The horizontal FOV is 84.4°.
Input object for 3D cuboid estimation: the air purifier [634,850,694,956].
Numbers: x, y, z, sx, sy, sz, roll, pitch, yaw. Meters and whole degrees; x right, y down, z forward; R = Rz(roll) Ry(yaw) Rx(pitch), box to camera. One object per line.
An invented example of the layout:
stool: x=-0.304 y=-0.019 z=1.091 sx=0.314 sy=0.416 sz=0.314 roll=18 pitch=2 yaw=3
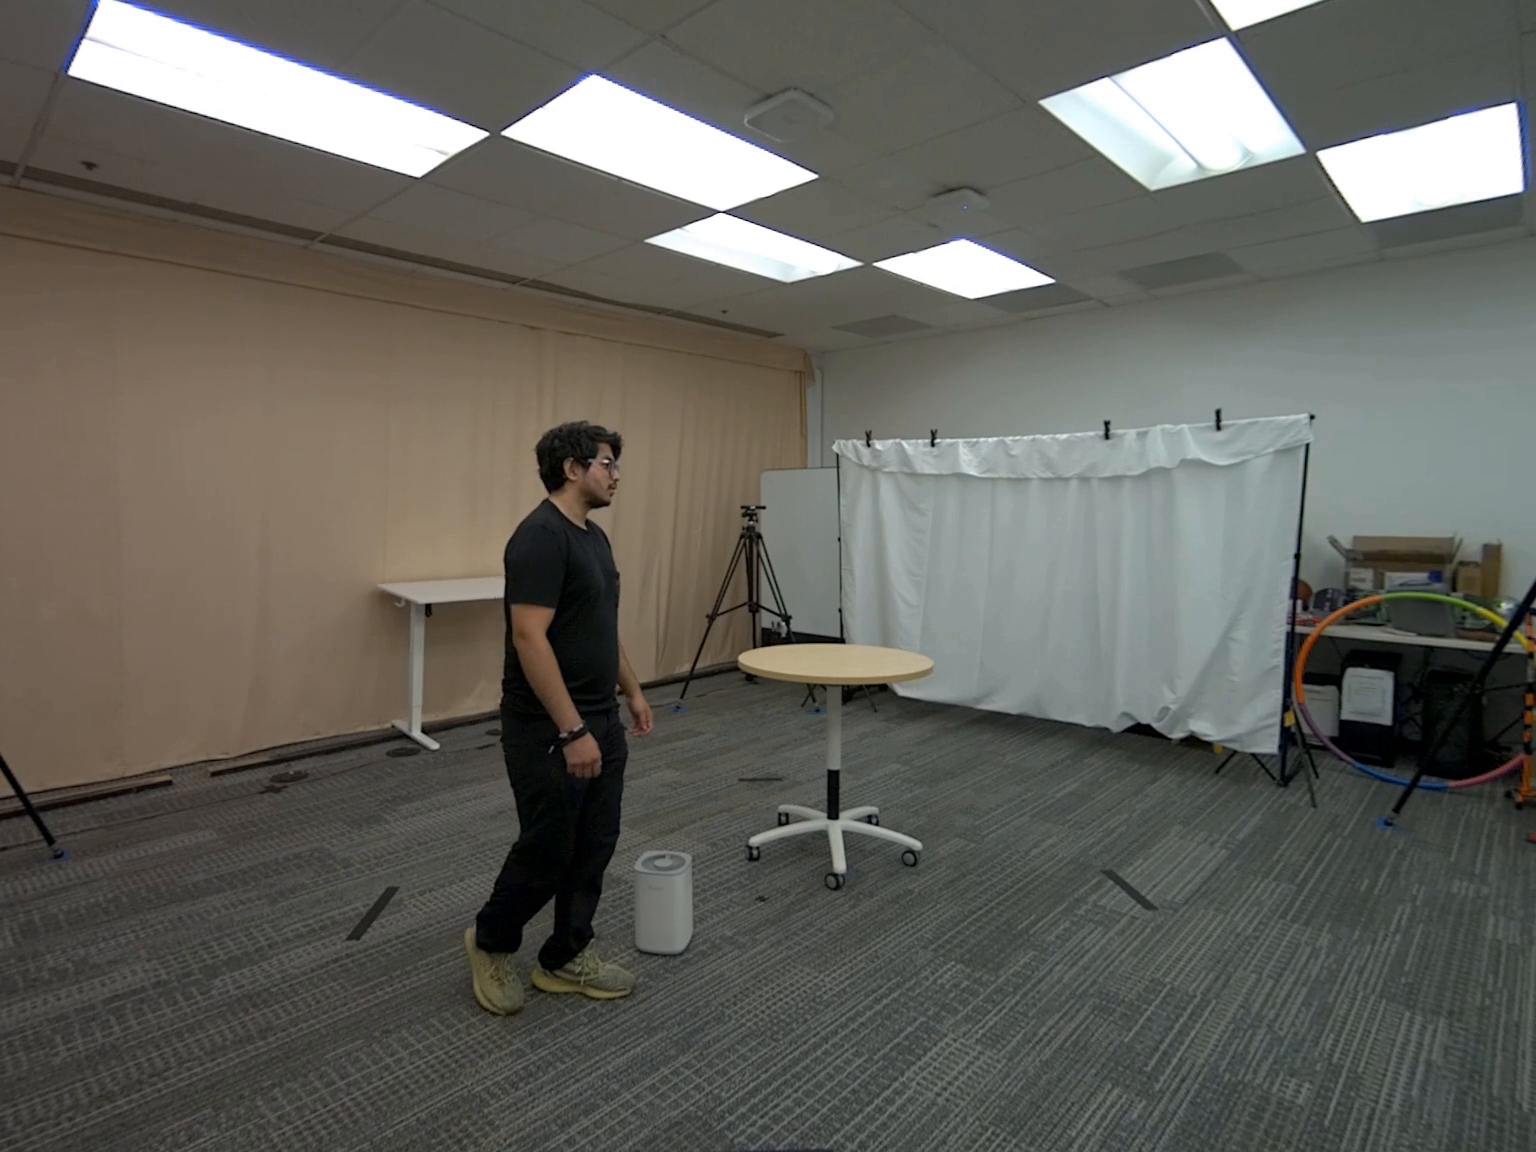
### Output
air purifier: x=-0.328 y=1.035 z=2.670 sx=0.171 sy=0.262 sz=0.171 roll=0 pitch=3 yaw=13
